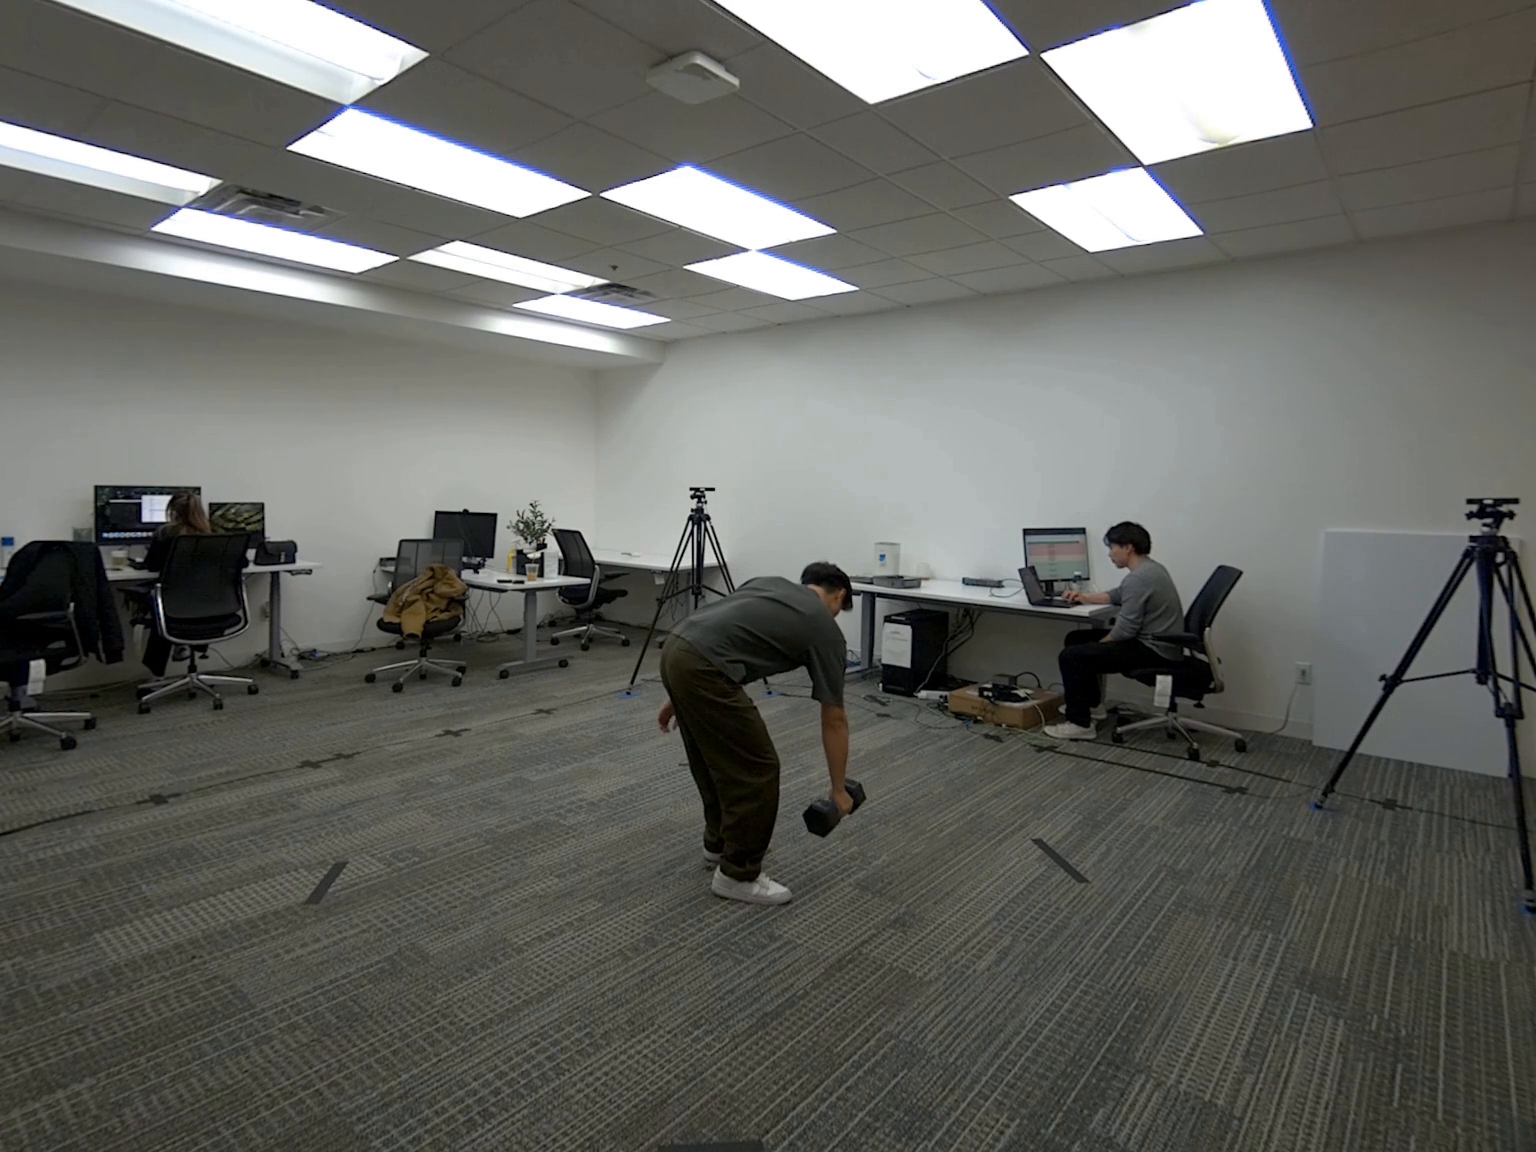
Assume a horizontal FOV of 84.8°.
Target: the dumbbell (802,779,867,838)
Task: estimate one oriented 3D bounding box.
[{"bbox_3d":[0.239,0.818,3.033,0.112,0.122,0.286,45,29,20],"label":"dumbbell"}]
